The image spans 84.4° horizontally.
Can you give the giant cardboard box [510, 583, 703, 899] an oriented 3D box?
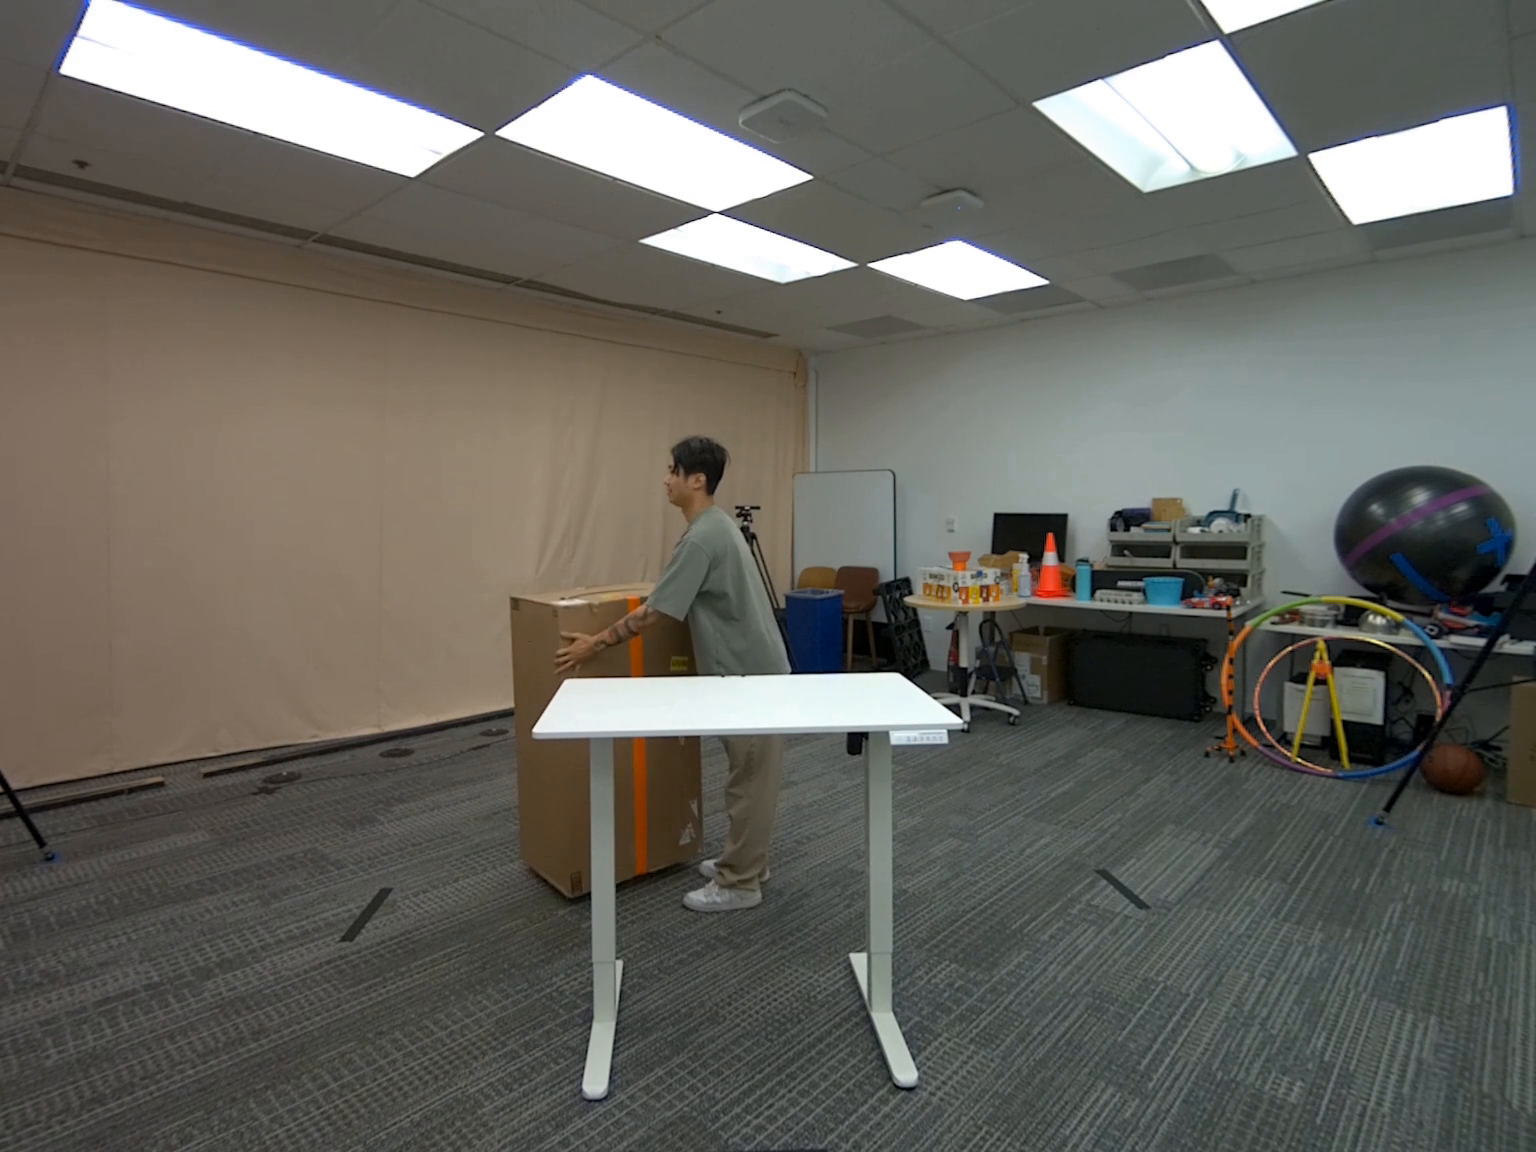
[{"bbox_3d":[-0.616,0.570,3.211,0.560,1.023,0.440,-4,5,-38],"label":"giant cardboard box"}]
